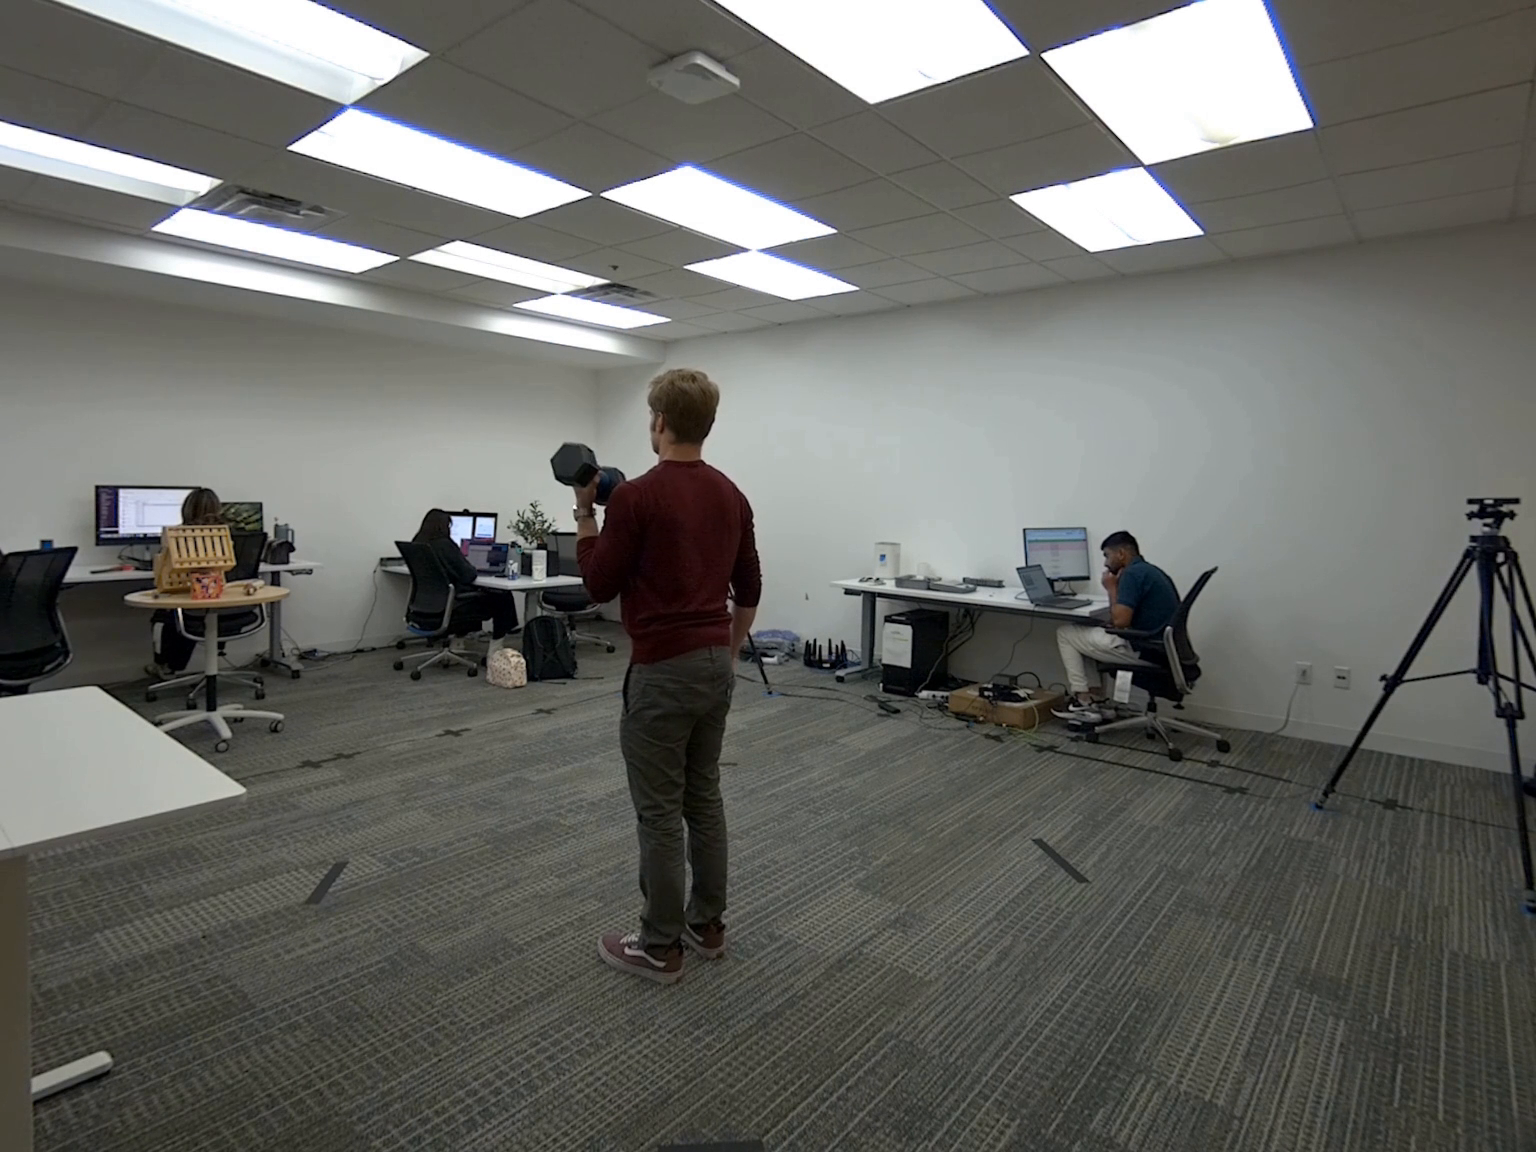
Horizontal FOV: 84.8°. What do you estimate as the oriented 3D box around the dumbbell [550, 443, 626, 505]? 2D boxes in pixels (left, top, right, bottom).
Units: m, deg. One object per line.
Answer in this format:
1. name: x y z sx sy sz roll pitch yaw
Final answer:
1. dumbbell: -0.519 -0.283 2.410 0.109 0.126 0.285 -22 -17 10
